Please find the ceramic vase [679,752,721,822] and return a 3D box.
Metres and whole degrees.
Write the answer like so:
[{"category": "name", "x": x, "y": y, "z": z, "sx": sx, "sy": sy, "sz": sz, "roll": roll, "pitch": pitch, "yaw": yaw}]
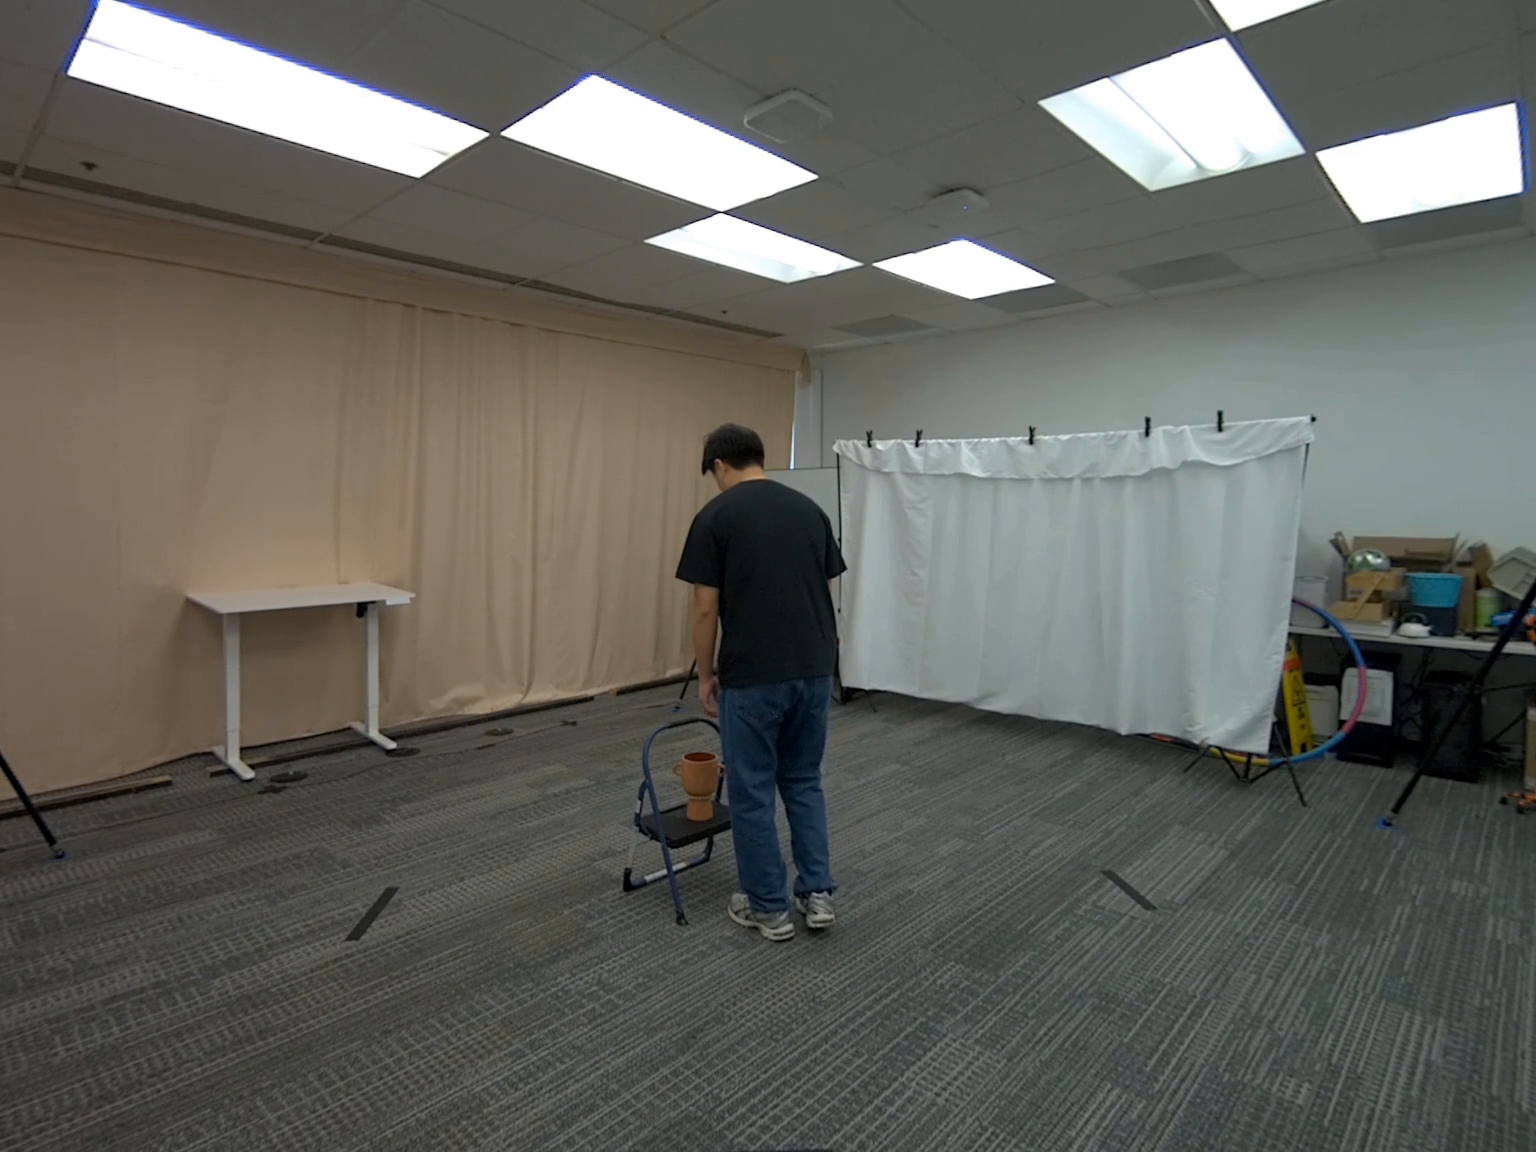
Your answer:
[{"category": "ceramic vase", "x": -0.250, "y": 0.767, "z": 3.067, "sx": 0.164, "sy": 0.219, "sz": 0.130, "roll": 5, "pitch": 7, "yaw": 43}]
